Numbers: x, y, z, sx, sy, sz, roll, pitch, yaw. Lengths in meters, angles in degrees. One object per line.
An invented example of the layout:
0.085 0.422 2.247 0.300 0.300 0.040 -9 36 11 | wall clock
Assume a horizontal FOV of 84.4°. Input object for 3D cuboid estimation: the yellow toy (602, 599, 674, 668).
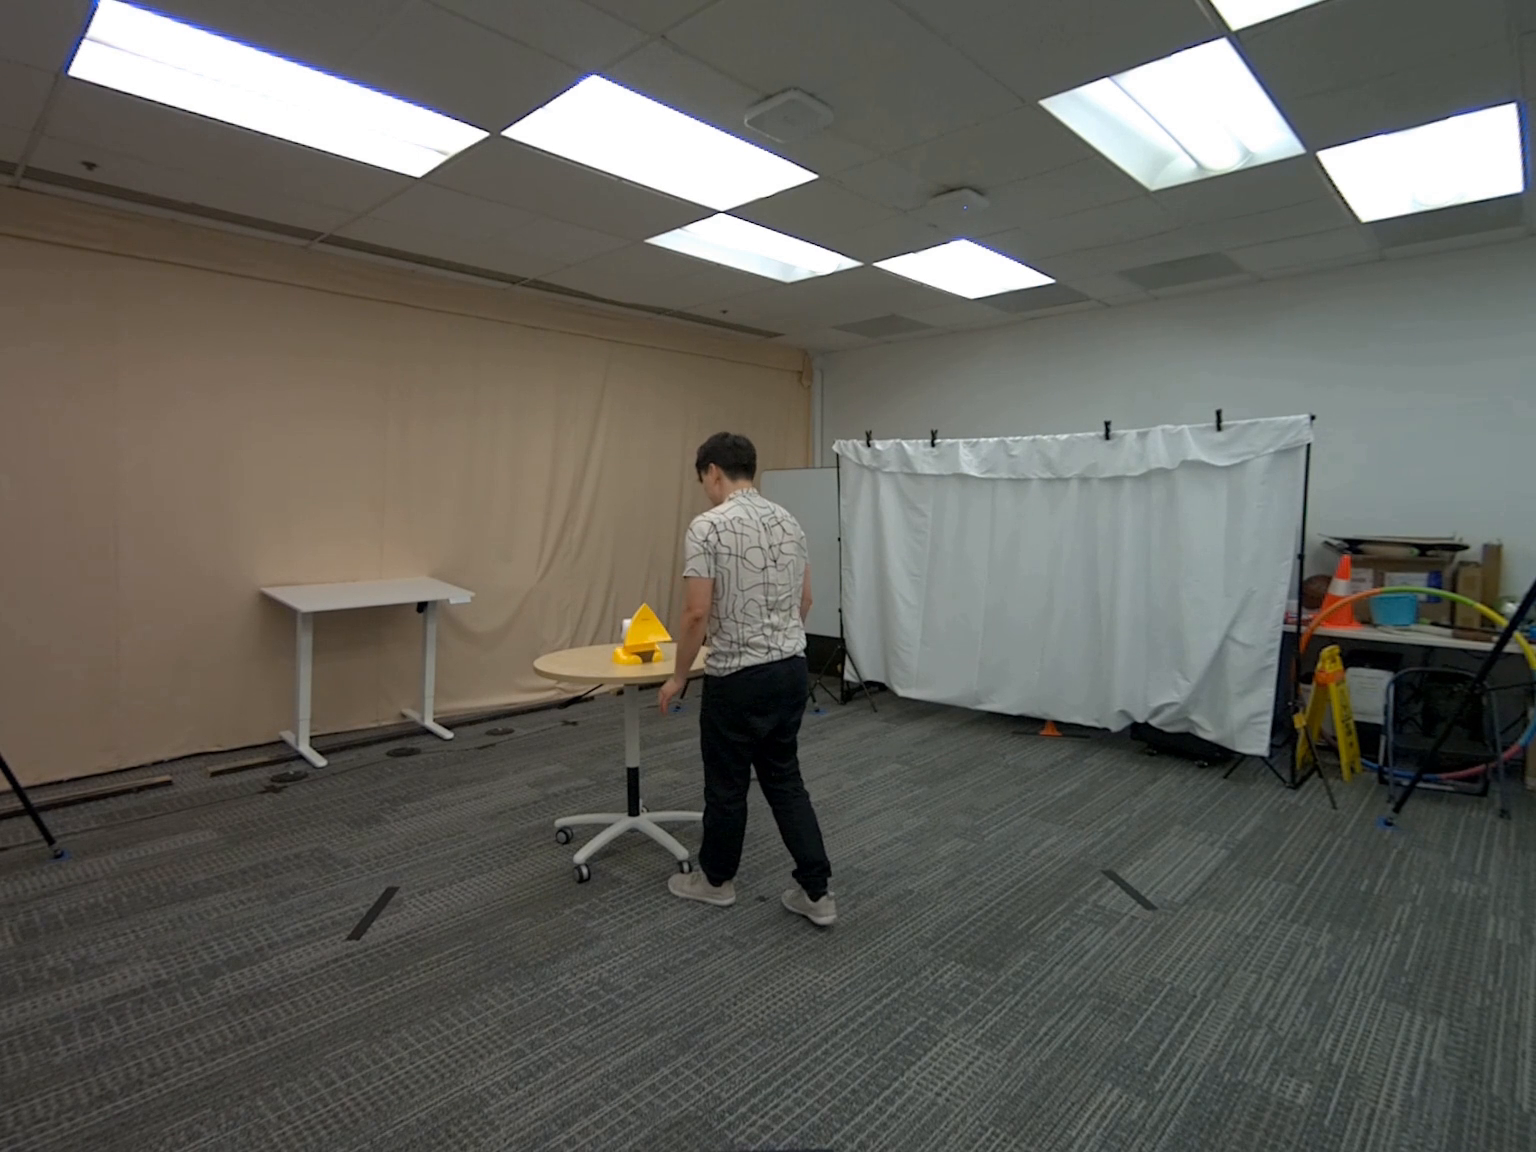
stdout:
-0.517 0.220 3.348 0.199 0.230 0.199 -4 4 -38 | yellow toy
